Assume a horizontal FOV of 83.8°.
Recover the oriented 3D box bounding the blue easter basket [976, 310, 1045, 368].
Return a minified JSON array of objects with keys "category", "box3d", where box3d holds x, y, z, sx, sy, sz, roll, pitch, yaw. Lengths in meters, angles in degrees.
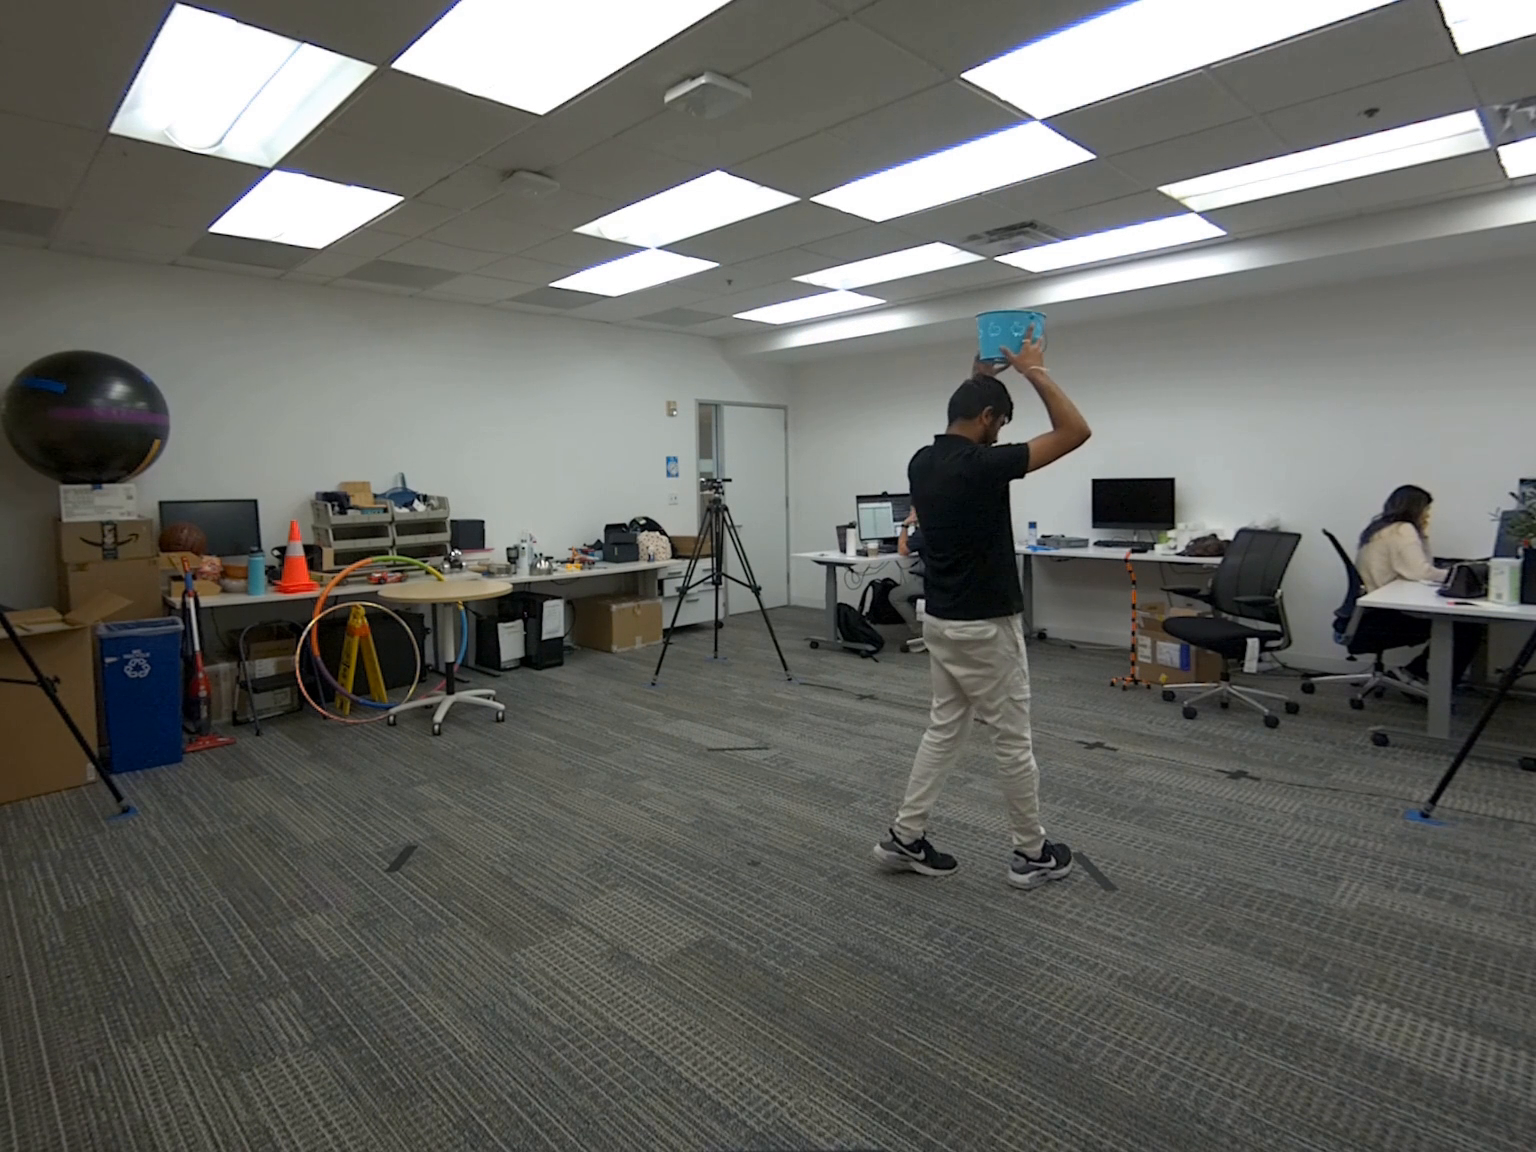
[{"category":"blue easter basket","box3d":[0.847,-0.824,2.942,0.243,0.155,0.245,3,6,-2]}]
